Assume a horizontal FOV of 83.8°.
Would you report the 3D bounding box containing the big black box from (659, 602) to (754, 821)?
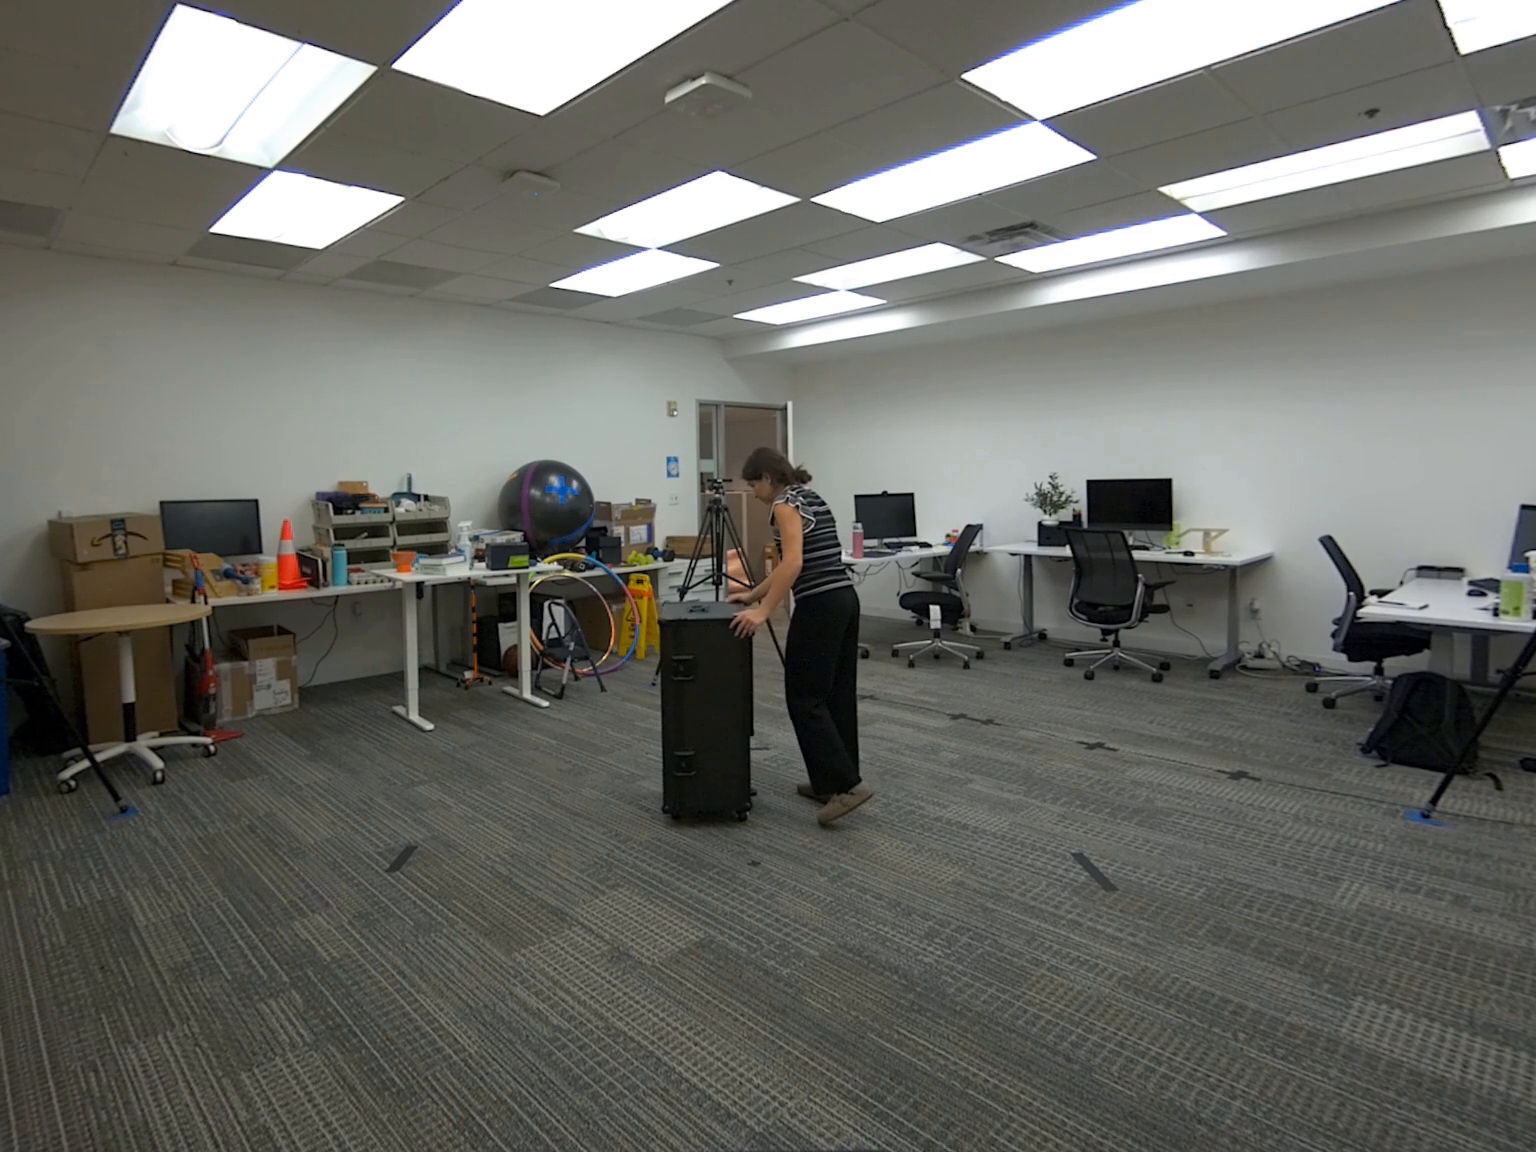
[{"bbox_3d":[-0.256,0.564,3.631,0.395,0.859,0.524,0,3,-3],"label":"big black box"}]
